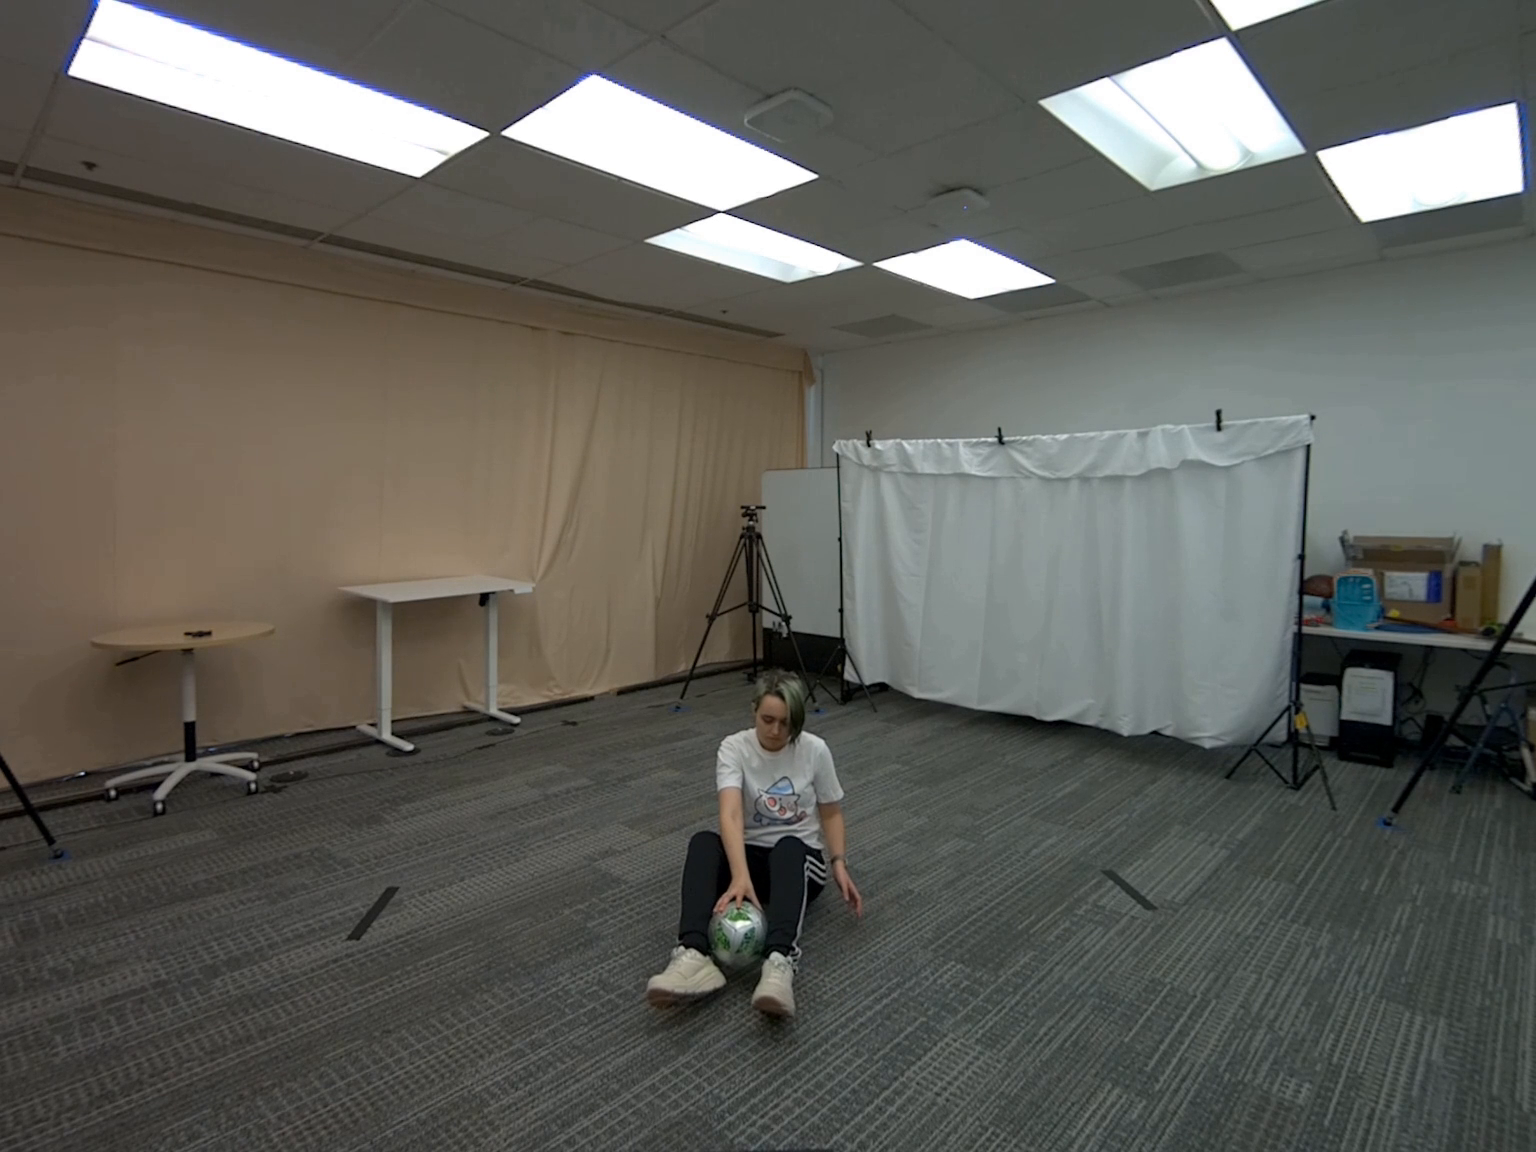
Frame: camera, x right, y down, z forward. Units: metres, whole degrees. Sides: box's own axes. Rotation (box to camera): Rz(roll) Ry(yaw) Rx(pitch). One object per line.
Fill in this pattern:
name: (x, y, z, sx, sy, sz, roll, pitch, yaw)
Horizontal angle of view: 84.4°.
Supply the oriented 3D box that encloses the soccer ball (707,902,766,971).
soccer ball: (-0.079, 1.048, 2.461, 0.187, 0.187, 0.188, 0, 4, -2)
